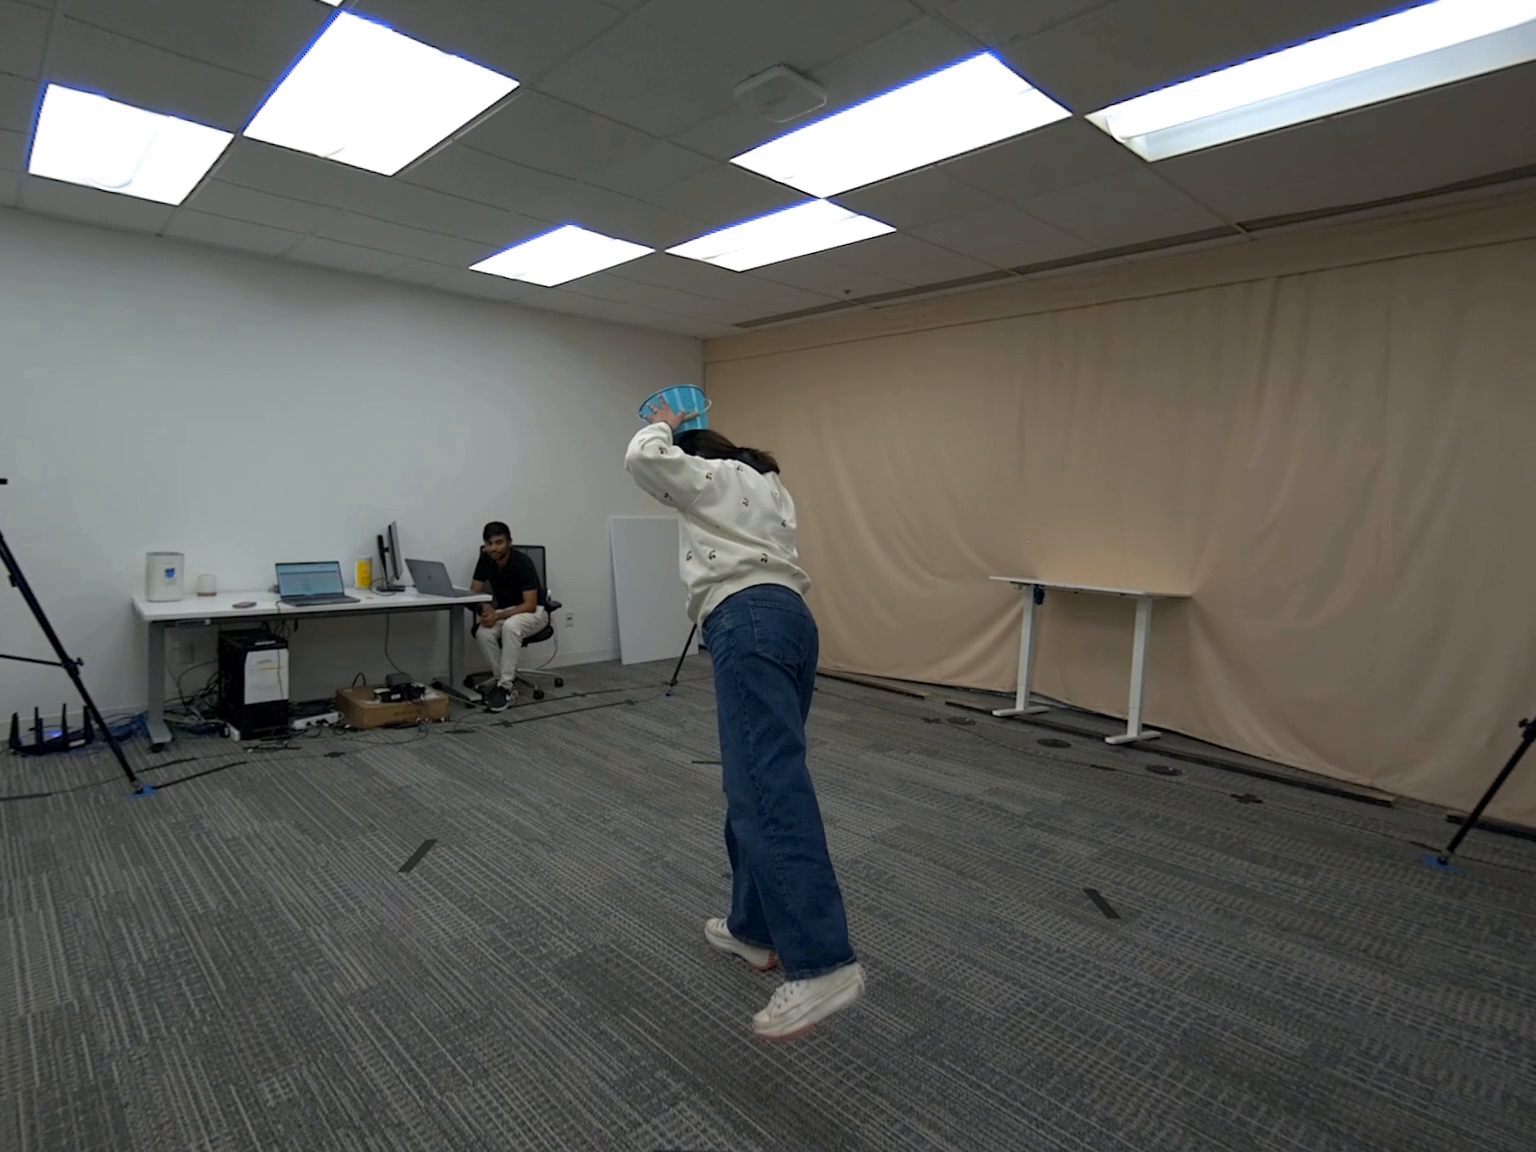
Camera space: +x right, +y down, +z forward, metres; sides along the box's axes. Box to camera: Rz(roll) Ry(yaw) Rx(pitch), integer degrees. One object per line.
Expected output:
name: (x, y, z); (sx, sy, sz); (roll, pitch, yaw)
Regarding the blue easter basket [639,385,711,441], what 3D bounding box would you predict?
blue easter basket: (-0.318, -0.513, 2.818); (0.243, 0.158, 0.240); (-17, -16, -7)
